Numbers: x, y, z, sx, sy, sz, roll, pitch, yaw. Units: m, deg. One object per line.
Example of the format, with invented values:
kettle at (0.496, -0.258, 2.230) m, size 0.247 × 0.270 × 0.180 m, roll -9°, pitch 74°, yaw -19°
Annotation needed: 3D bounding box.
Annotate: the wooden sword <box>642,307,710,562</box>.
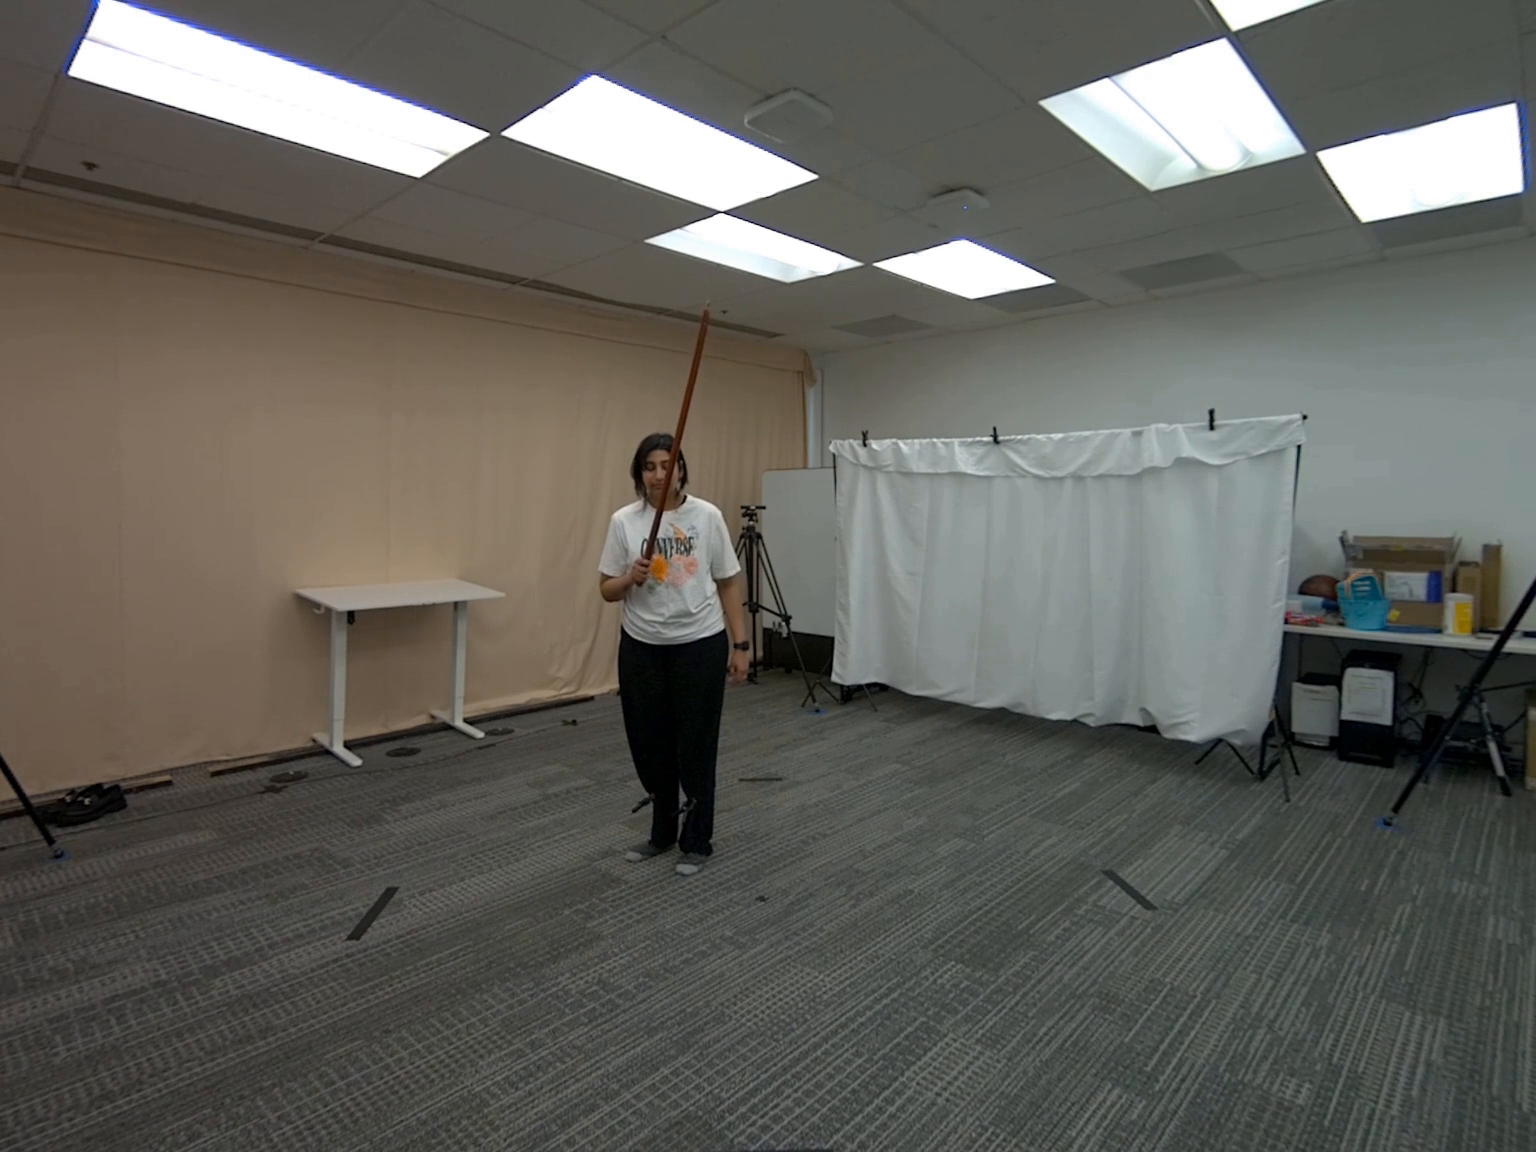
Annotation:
wooden sword at (-0.323, -0.423, 2.893) m, size 0.023 × 1.019 × 0.052 m, roll 11°, pitch 21°, yaw -17°
